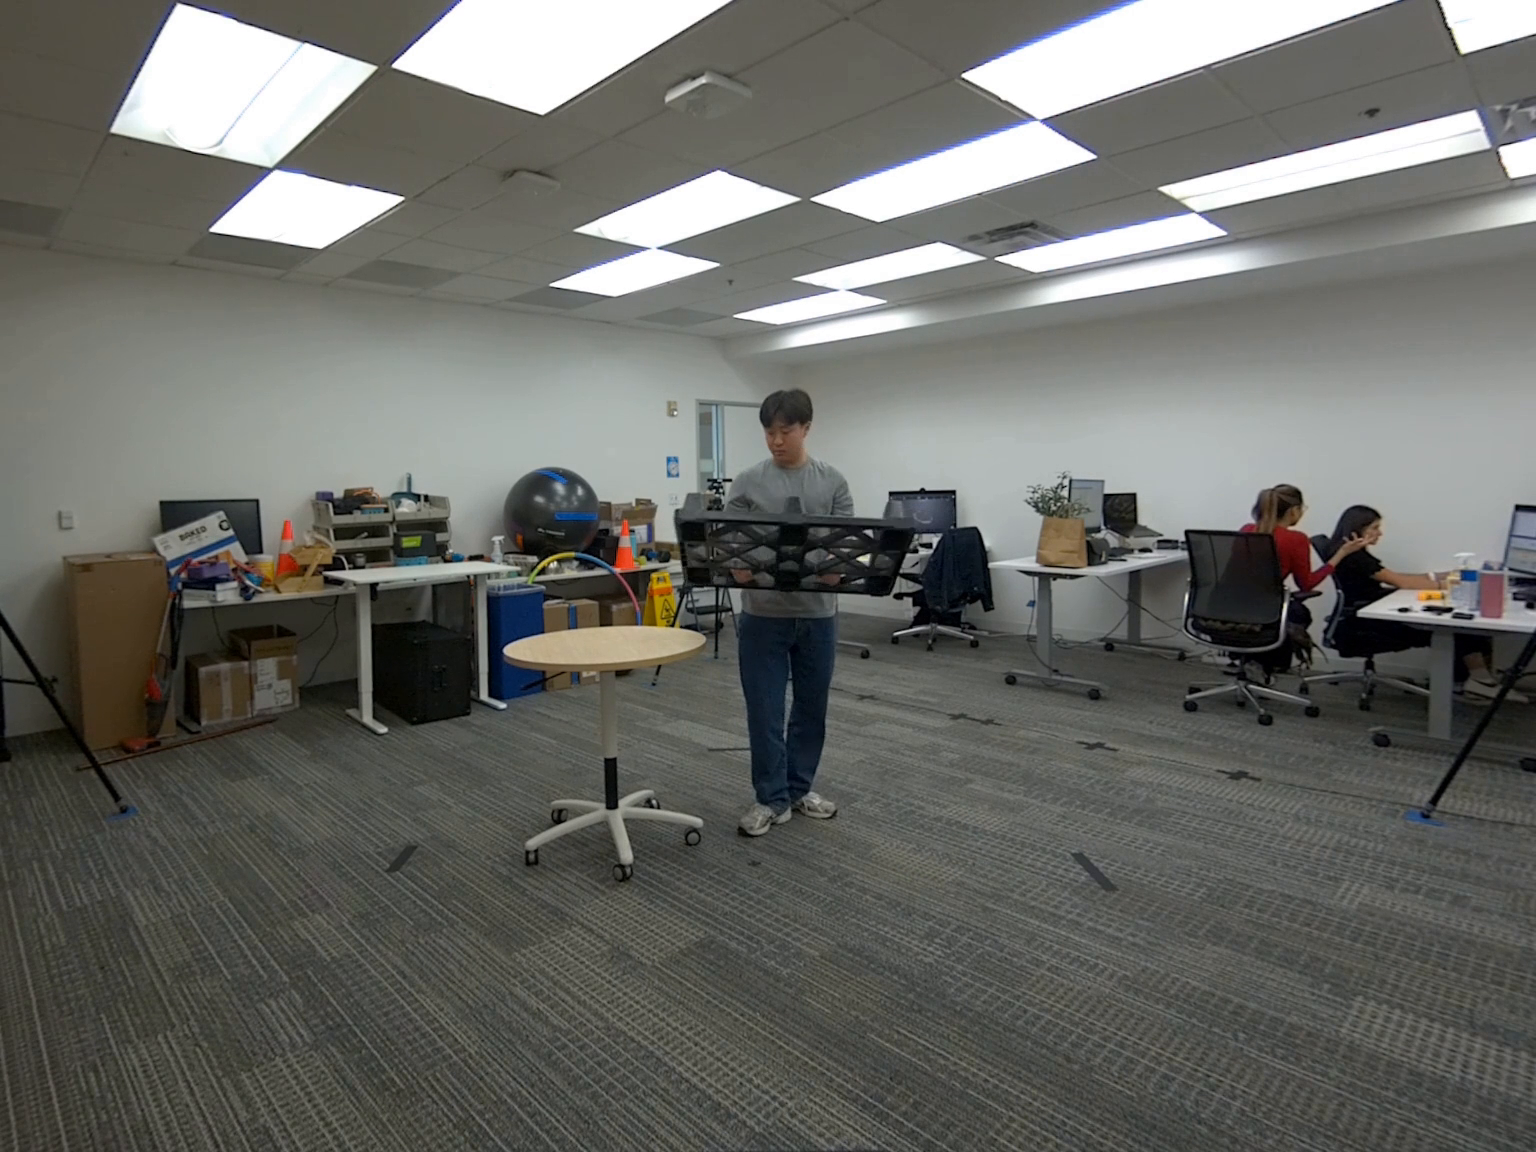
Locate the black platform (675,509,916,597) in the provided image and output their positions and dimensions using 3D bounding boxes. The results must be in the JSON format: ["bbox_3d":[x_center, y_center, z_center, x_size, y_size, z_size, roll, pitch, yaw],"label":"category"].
[{"bbox_3d":[0.082,-0.105,3.092,0.809,0.146,0.591,3,-23,4],"label":"black platform"}]
